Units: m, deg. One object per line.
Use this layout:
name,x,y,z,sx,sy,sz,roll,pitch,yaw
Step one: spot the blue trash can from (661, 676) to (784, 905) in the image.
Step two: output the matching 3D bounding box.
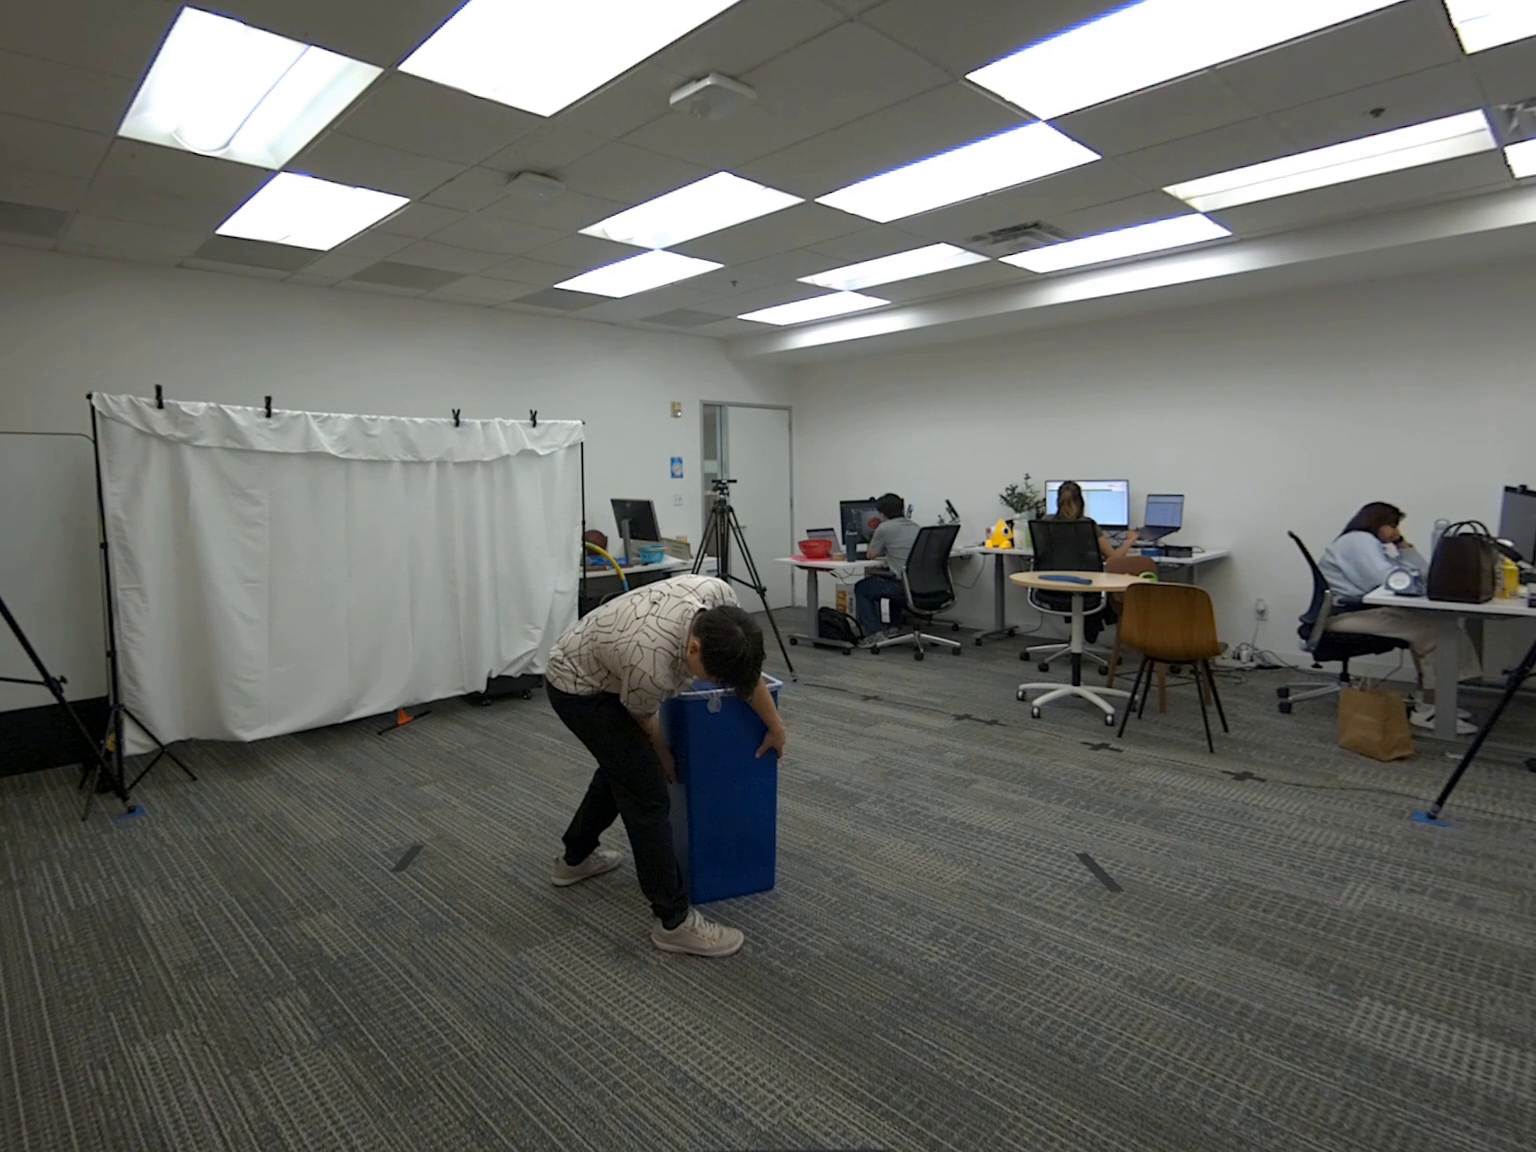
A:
blue trash can,-0.172,0.707,2.991,0.367,0.711,0.387,-3,4,-23
